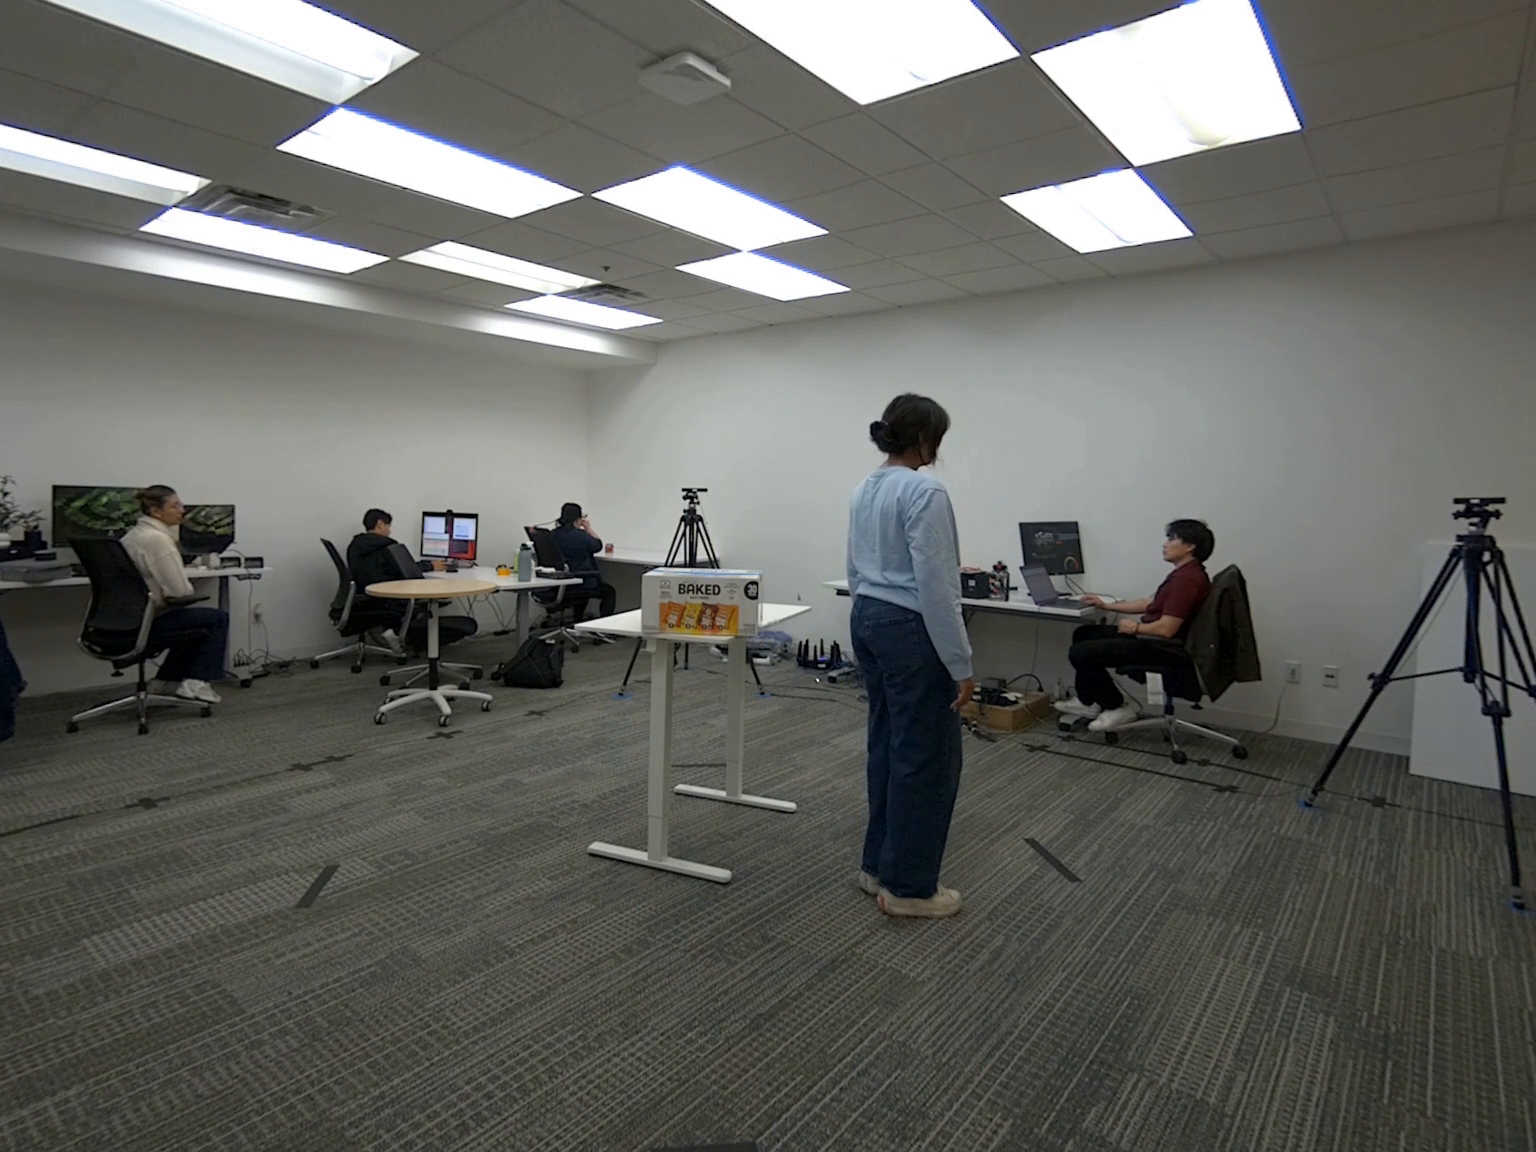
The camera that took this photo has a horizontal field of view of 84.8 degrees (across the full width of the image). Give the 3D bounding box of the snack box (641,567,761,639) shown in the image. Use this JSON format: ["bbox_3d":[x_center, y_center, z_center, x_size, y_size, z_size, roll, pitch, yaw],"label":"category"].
[{"bbox_3d":[-0.240,0.086,3.087,0.407,0.205,0.340,2,5,4],"label":"snack box"}]
